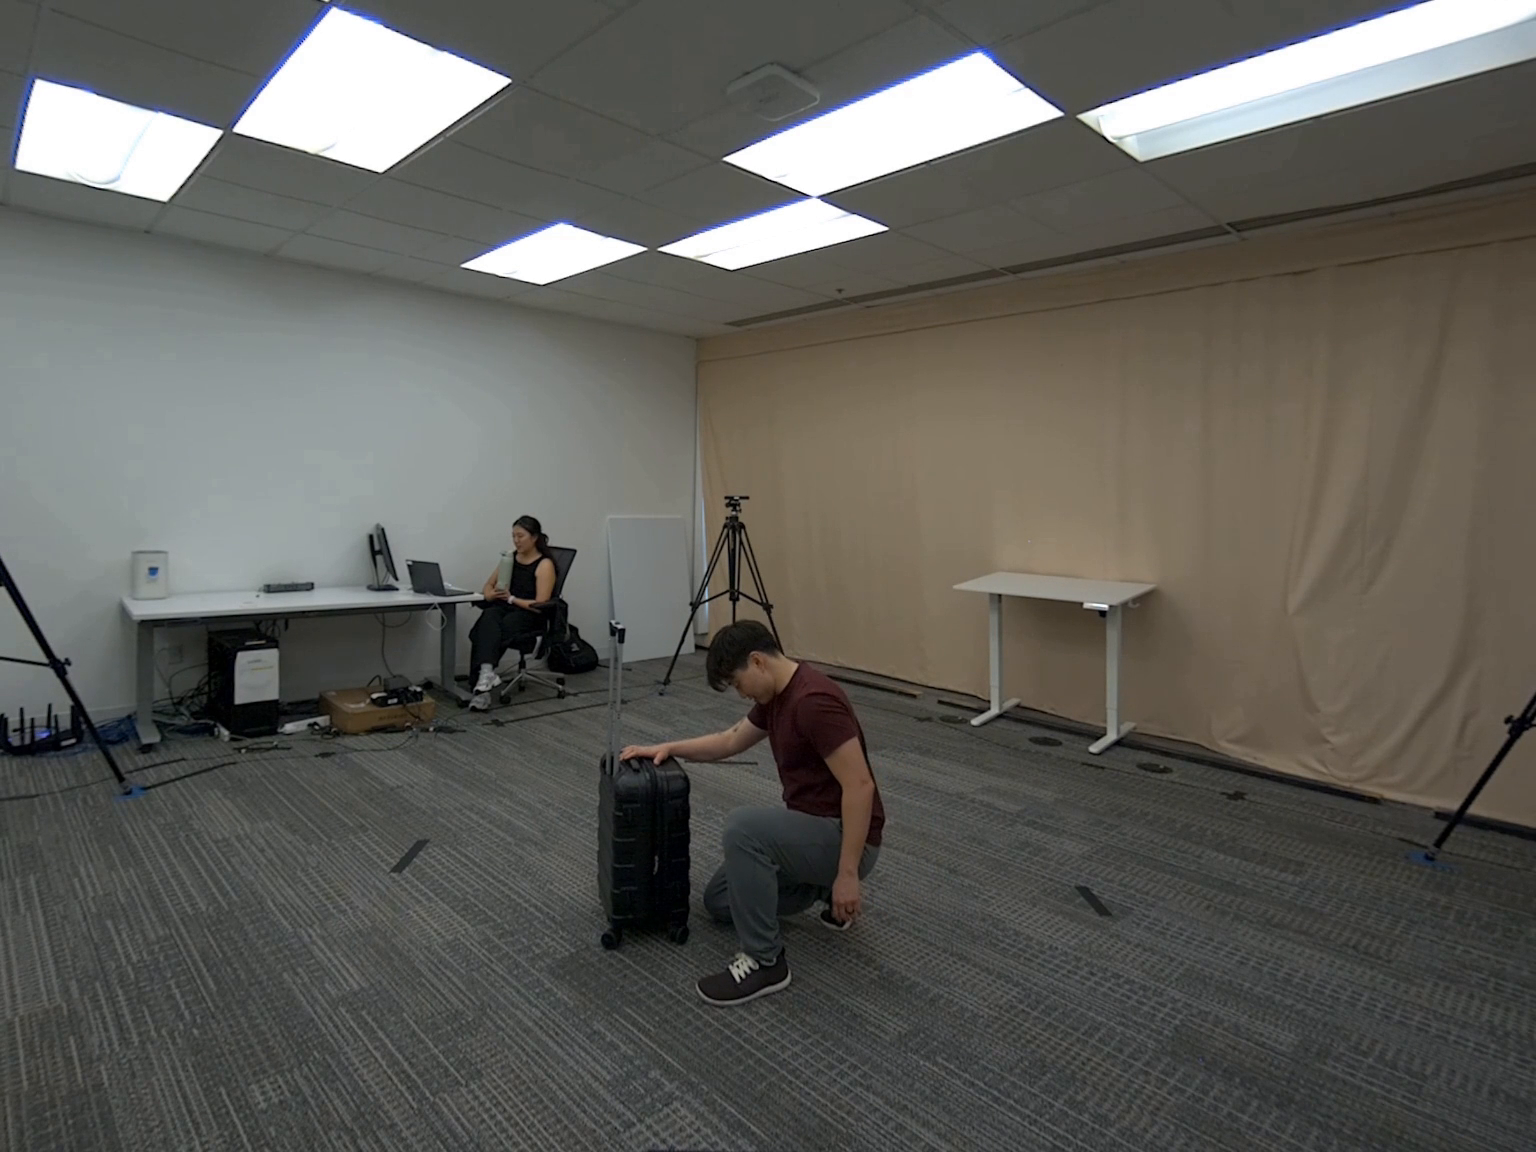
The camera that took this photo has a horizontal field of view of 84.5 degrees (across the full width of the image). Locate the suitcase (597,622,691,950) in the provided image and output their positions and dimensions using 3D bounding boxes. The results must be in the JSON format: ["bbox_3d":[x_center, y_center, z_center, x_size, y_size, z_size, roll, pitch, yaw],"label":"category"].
[{"bbox_3d":[-0.405,0.650,2.733,0.254,0.976,0.389,1,4,-15],"label":"suitcase"}]
